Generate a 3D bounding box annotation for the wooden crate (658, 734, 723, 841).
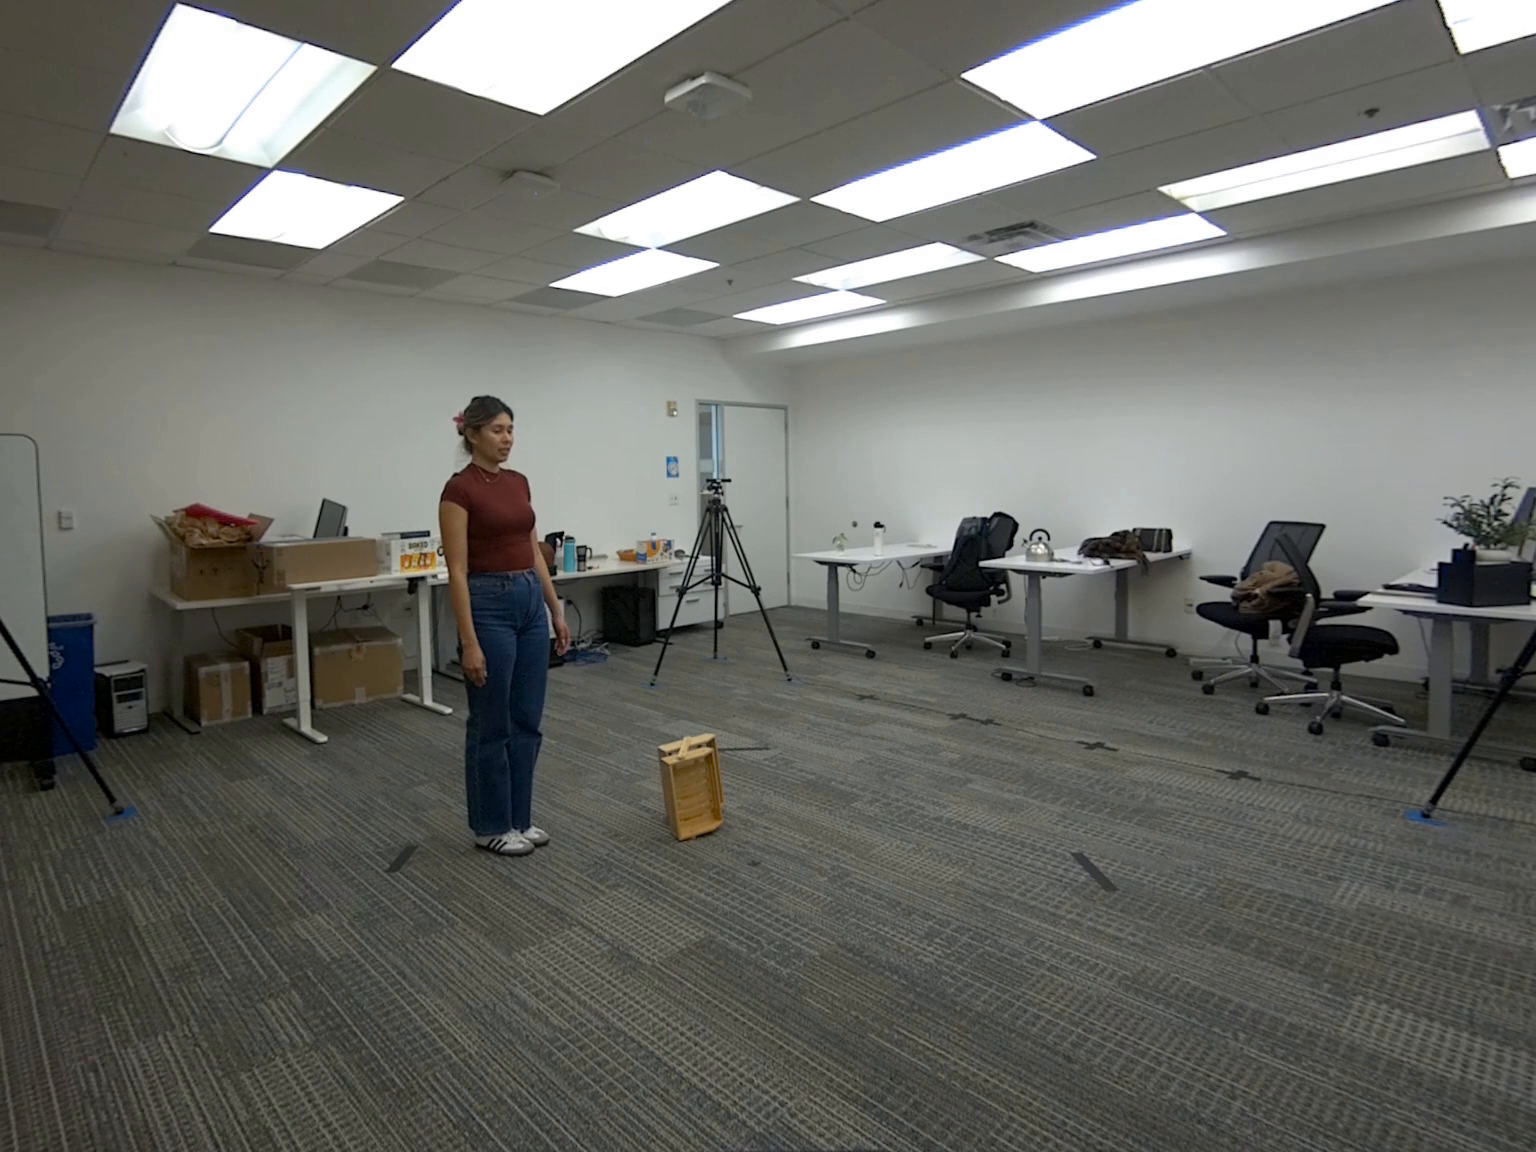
[{"bbox_3d":[-0.289,0.842,3.461,0.296,0.323,0.279,-9,4,-26],"label":"wooden crate"}]
